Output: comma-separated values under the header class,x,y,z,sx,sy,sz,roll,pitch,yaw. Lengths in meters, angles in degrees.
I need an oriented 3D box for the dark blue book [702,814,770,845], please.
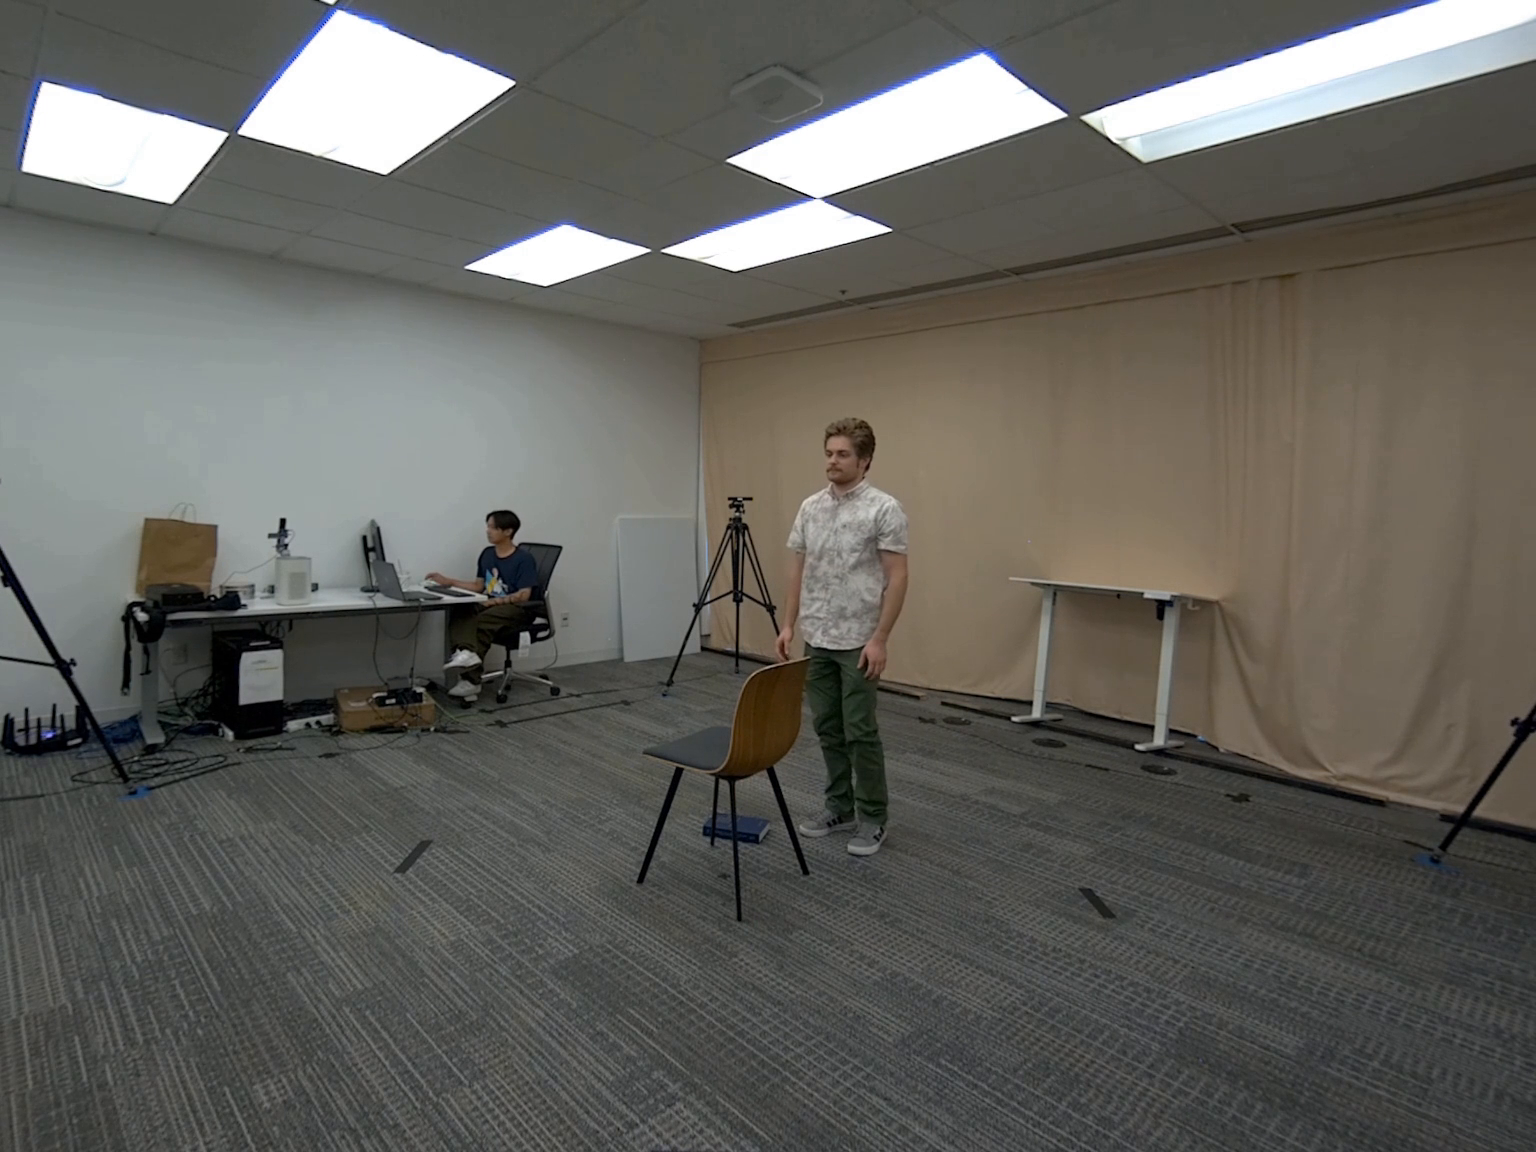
class,x,y,z,sx,sy,sz,roll,pitch,yaw
dark blue book,-0.135,1.044,3.513,0.249,0.045,0.161,3,4,18
